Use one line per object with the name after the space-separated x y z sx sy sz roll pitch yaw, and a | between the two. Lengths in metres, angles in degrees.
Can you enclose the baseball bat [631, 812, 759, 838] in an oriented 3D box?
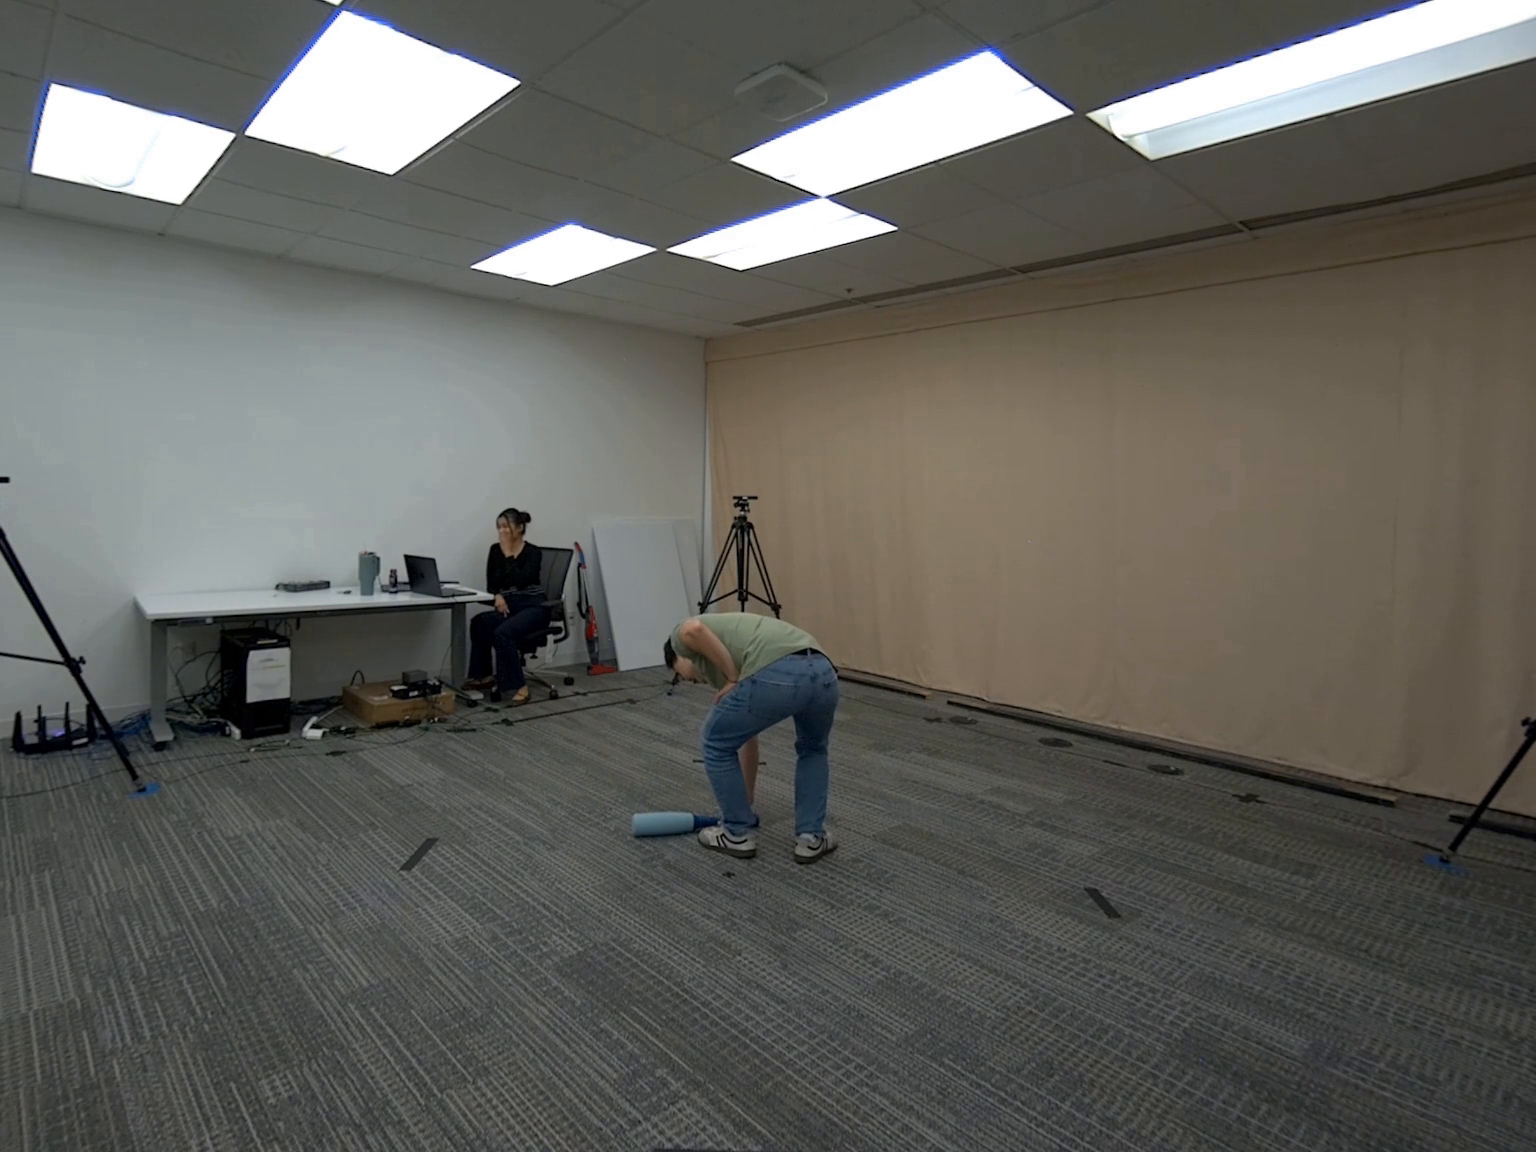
-0.304 1.019 3.502 0.536 0.089 0.090 2 4 -14 | baseball bat
